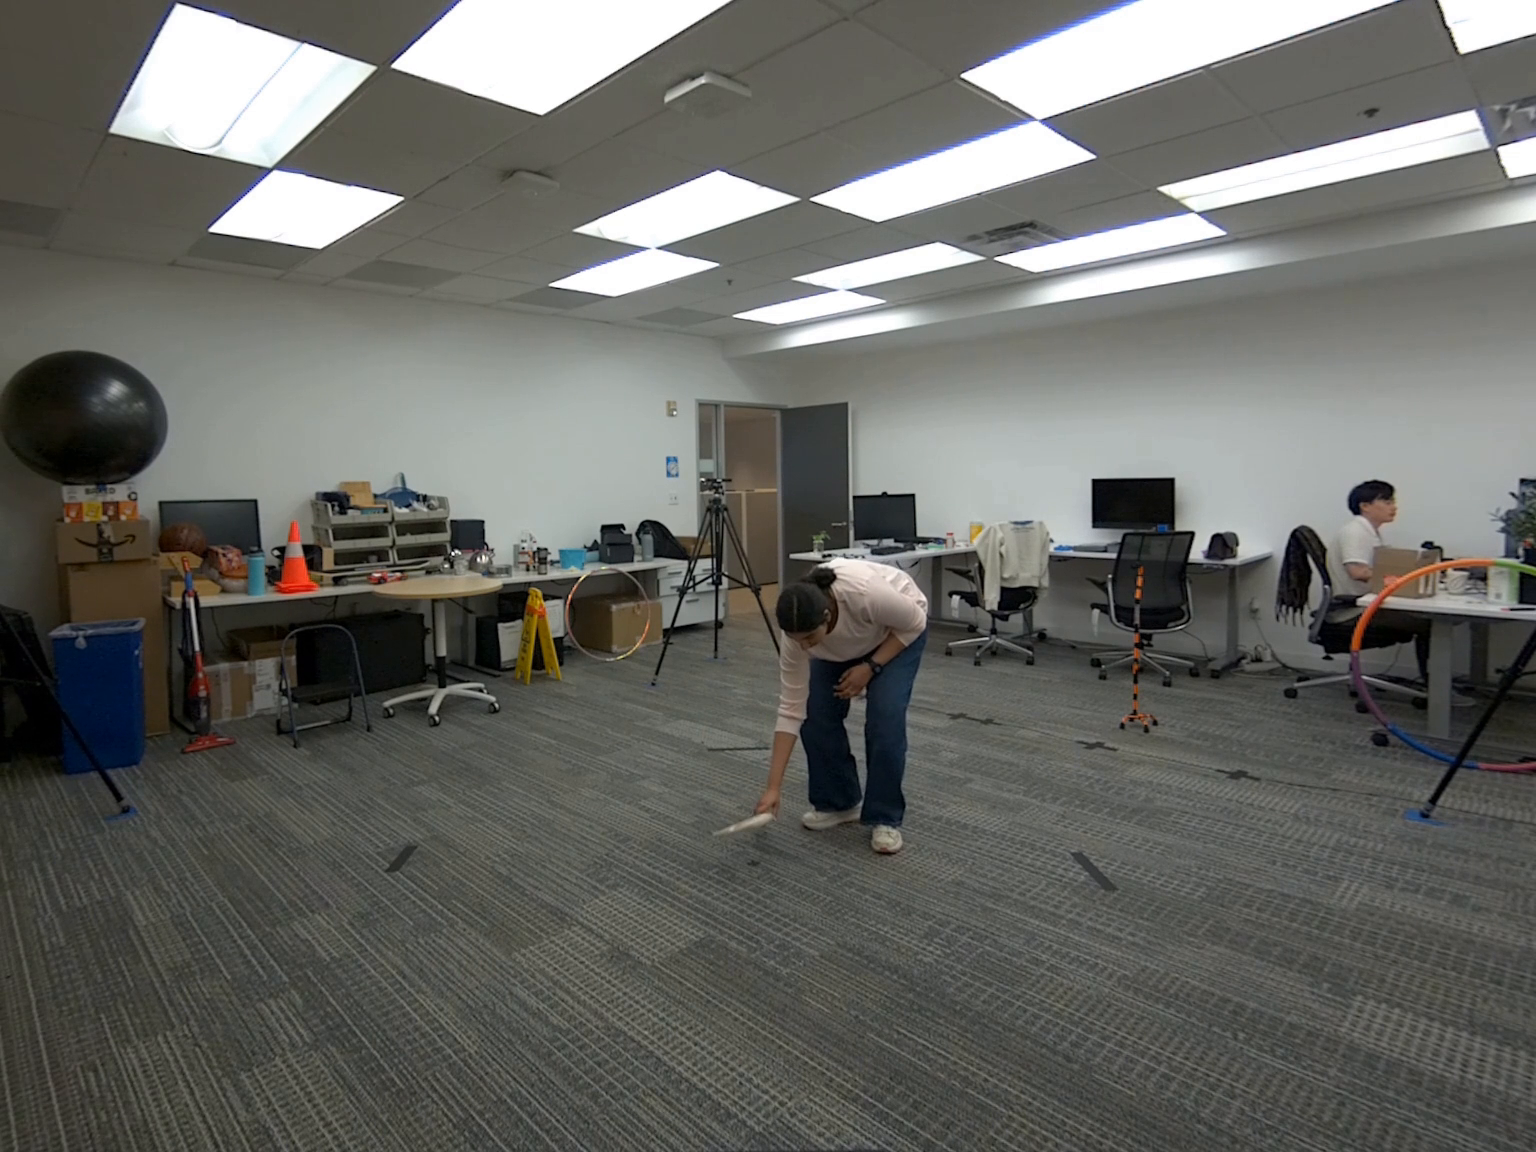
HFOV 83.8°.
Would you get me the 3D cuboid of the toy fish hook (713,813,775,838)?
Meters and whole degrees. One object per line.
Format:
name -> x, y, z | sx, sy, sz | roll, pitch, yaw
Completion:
toy fish hook -> -0.091, 0.926, 3.169 | 0.224, 0.049, 0.498 | -14, -15, -2
